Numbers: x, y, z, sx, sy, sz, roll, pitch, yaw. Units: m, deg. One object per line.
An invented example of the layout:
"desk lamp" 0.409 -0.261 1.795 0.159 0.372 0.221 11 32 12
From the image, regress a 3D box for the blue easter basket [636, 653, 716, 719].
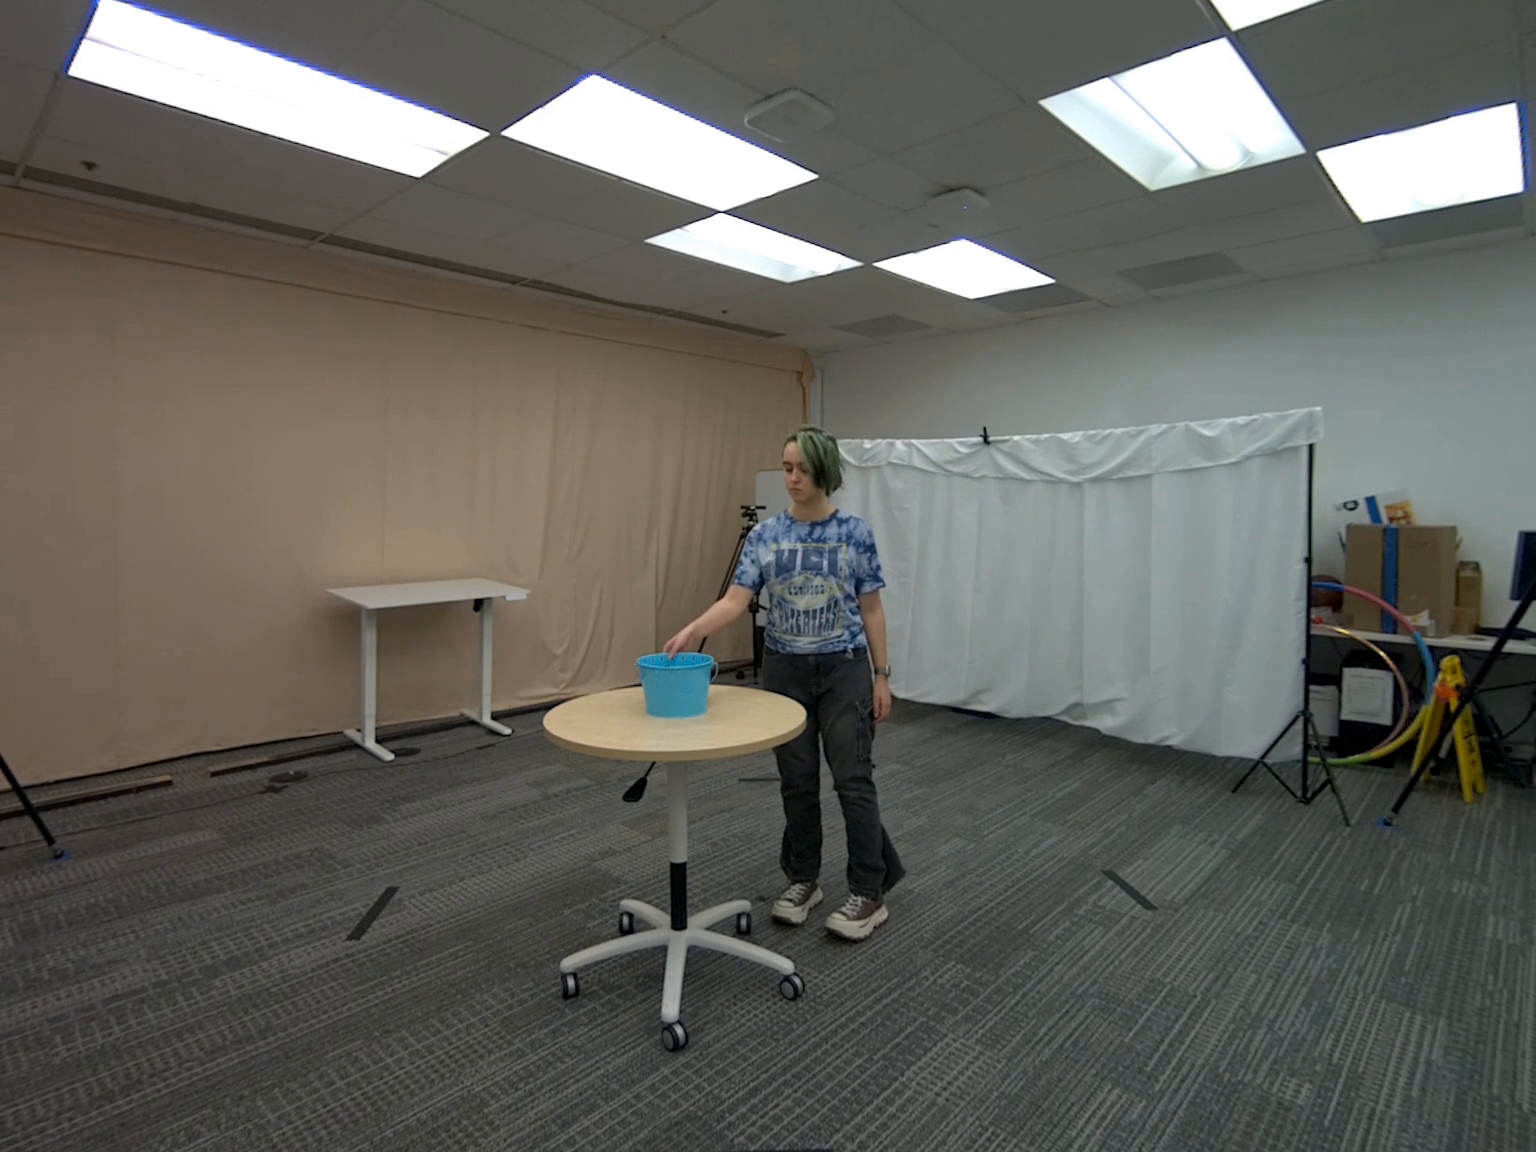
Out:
"blue easter basket" -0.267 0.327 2.495 0.243 0.155 0.244 -2 5 -2
